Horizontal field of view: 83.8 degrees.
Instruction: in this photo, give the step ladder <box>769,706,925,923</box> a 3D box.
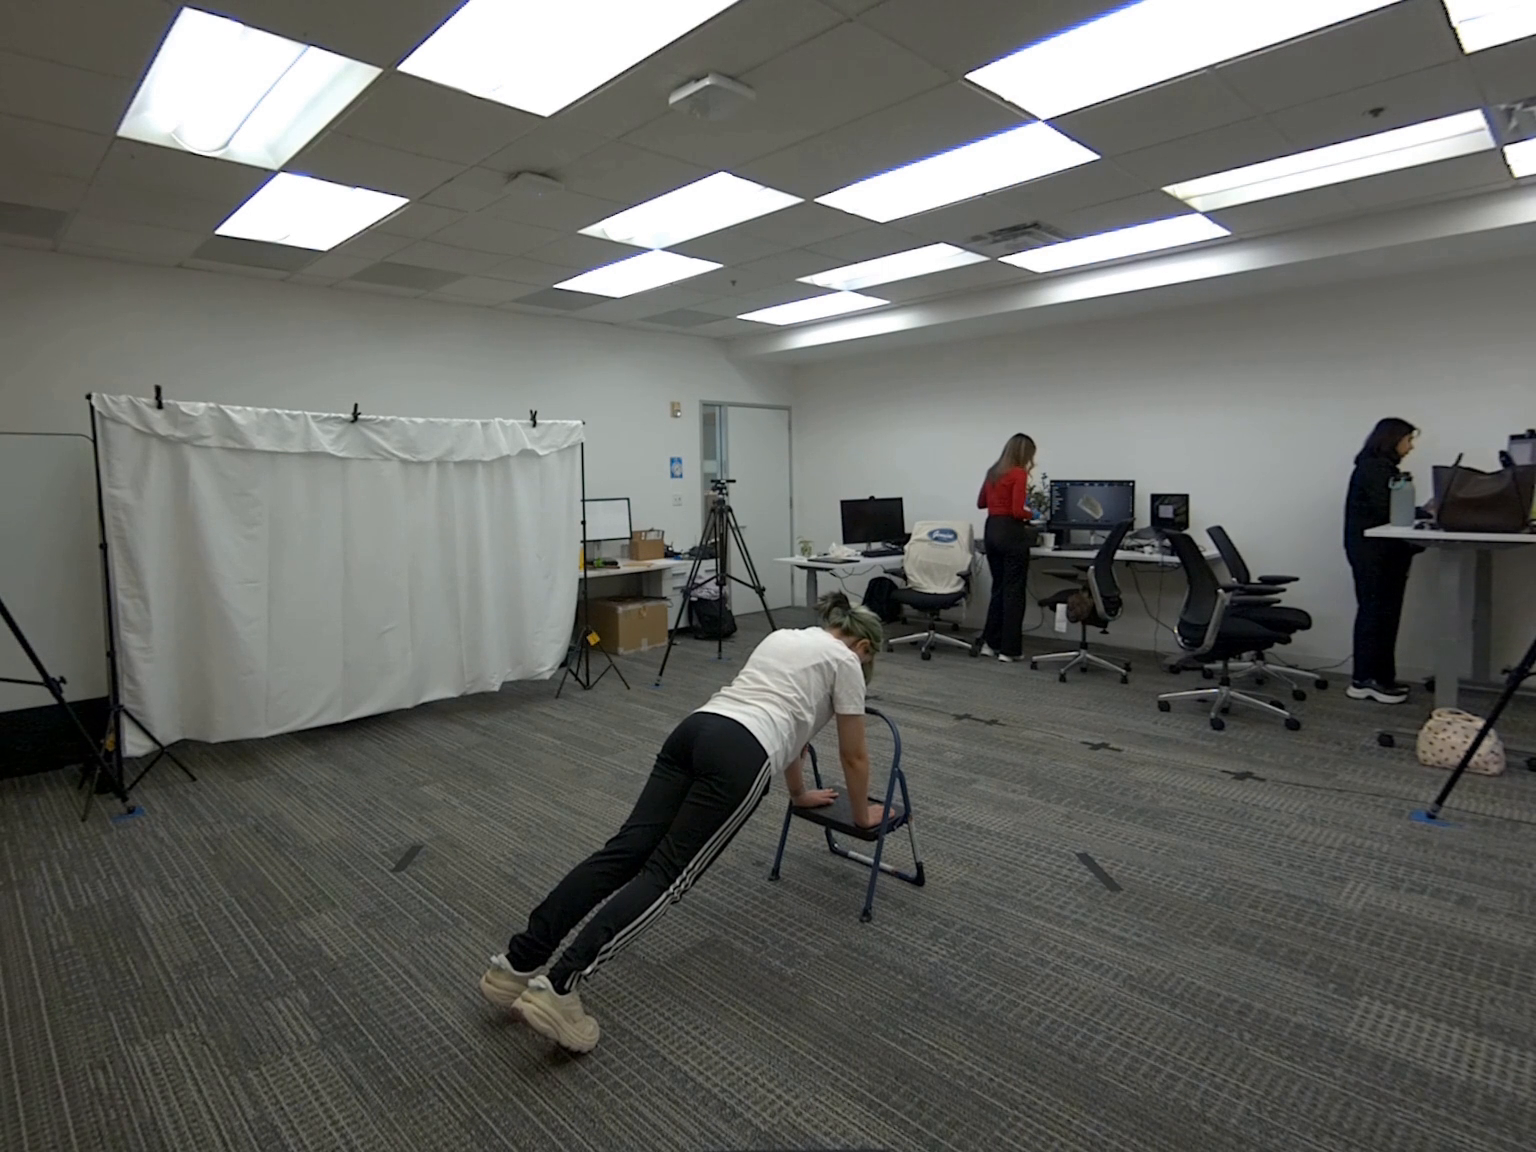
[{"bbox_3d":[0.272,0.759,2.939,0.444,0.604,0.340,4,6,45],"label":"step ladder"}]
